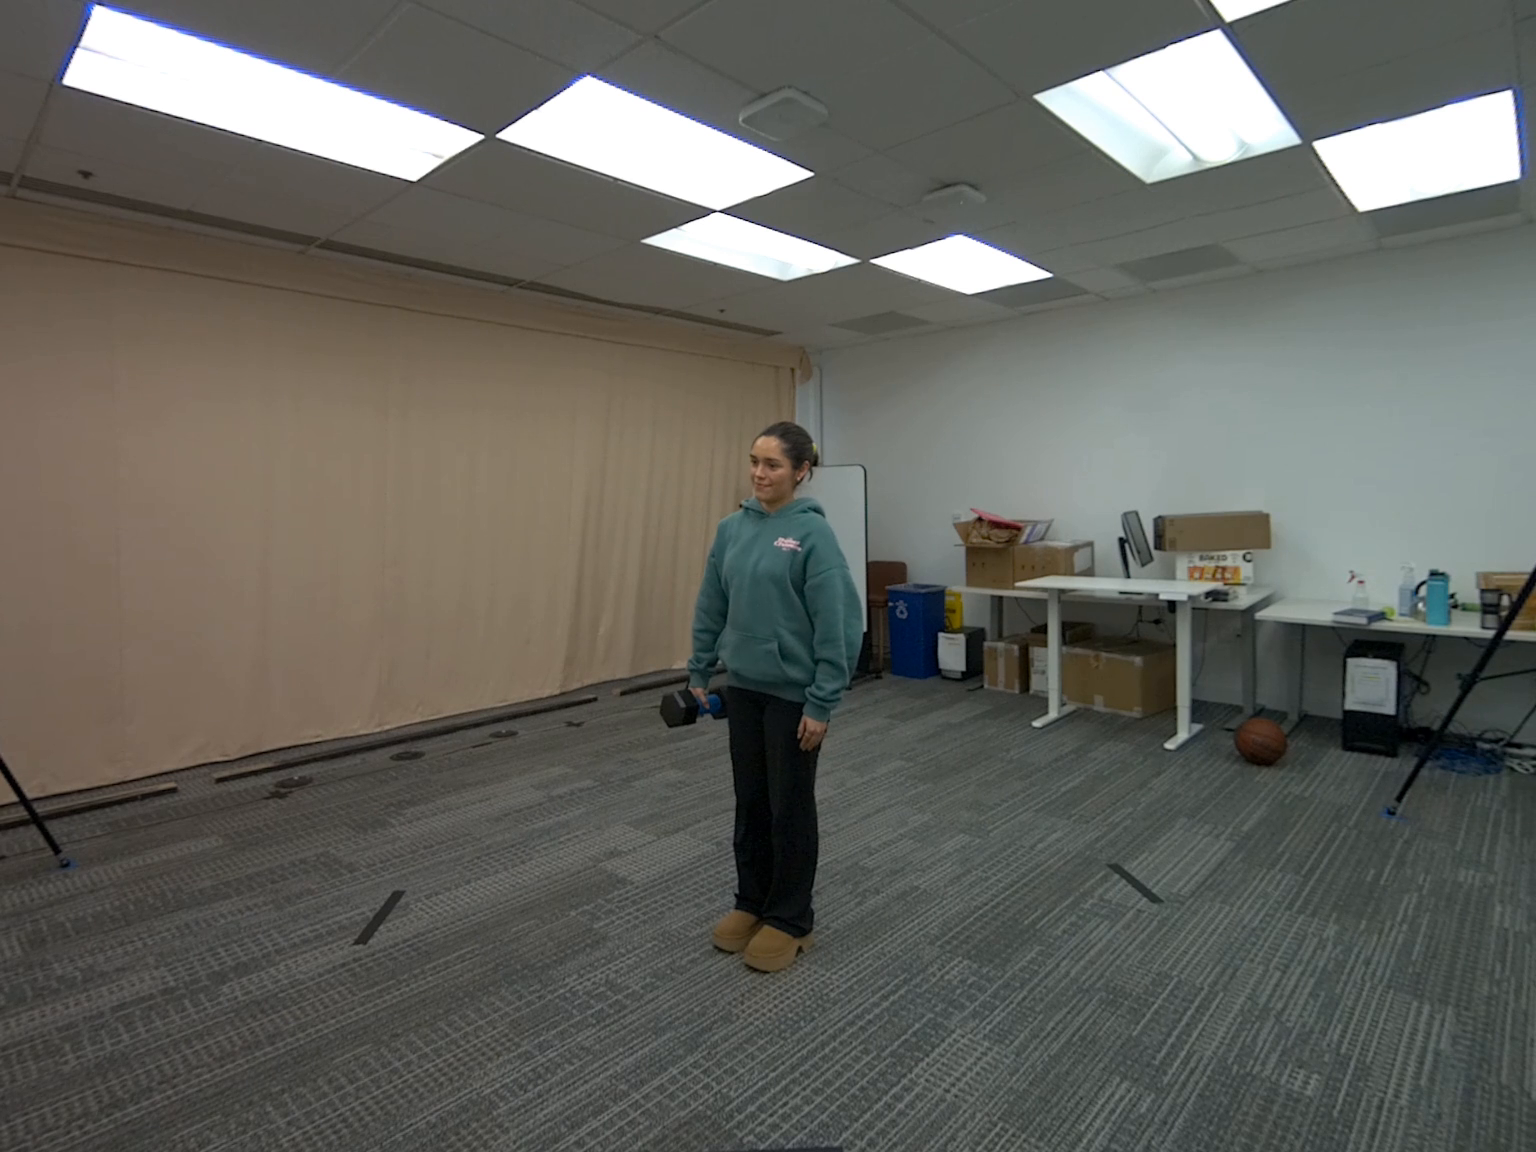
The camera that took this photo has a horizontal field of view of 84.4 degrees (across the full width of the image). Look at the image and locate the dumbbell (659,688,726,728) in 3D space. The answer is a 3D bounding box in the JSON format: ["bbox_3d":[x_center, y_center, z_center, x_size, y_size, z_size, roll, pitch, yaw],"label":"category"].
[{"bbox_3d":[-0.202,0.419,2.700,0.284,0.109,0.127,2,41,-49],"label":"dumbbell"}]
